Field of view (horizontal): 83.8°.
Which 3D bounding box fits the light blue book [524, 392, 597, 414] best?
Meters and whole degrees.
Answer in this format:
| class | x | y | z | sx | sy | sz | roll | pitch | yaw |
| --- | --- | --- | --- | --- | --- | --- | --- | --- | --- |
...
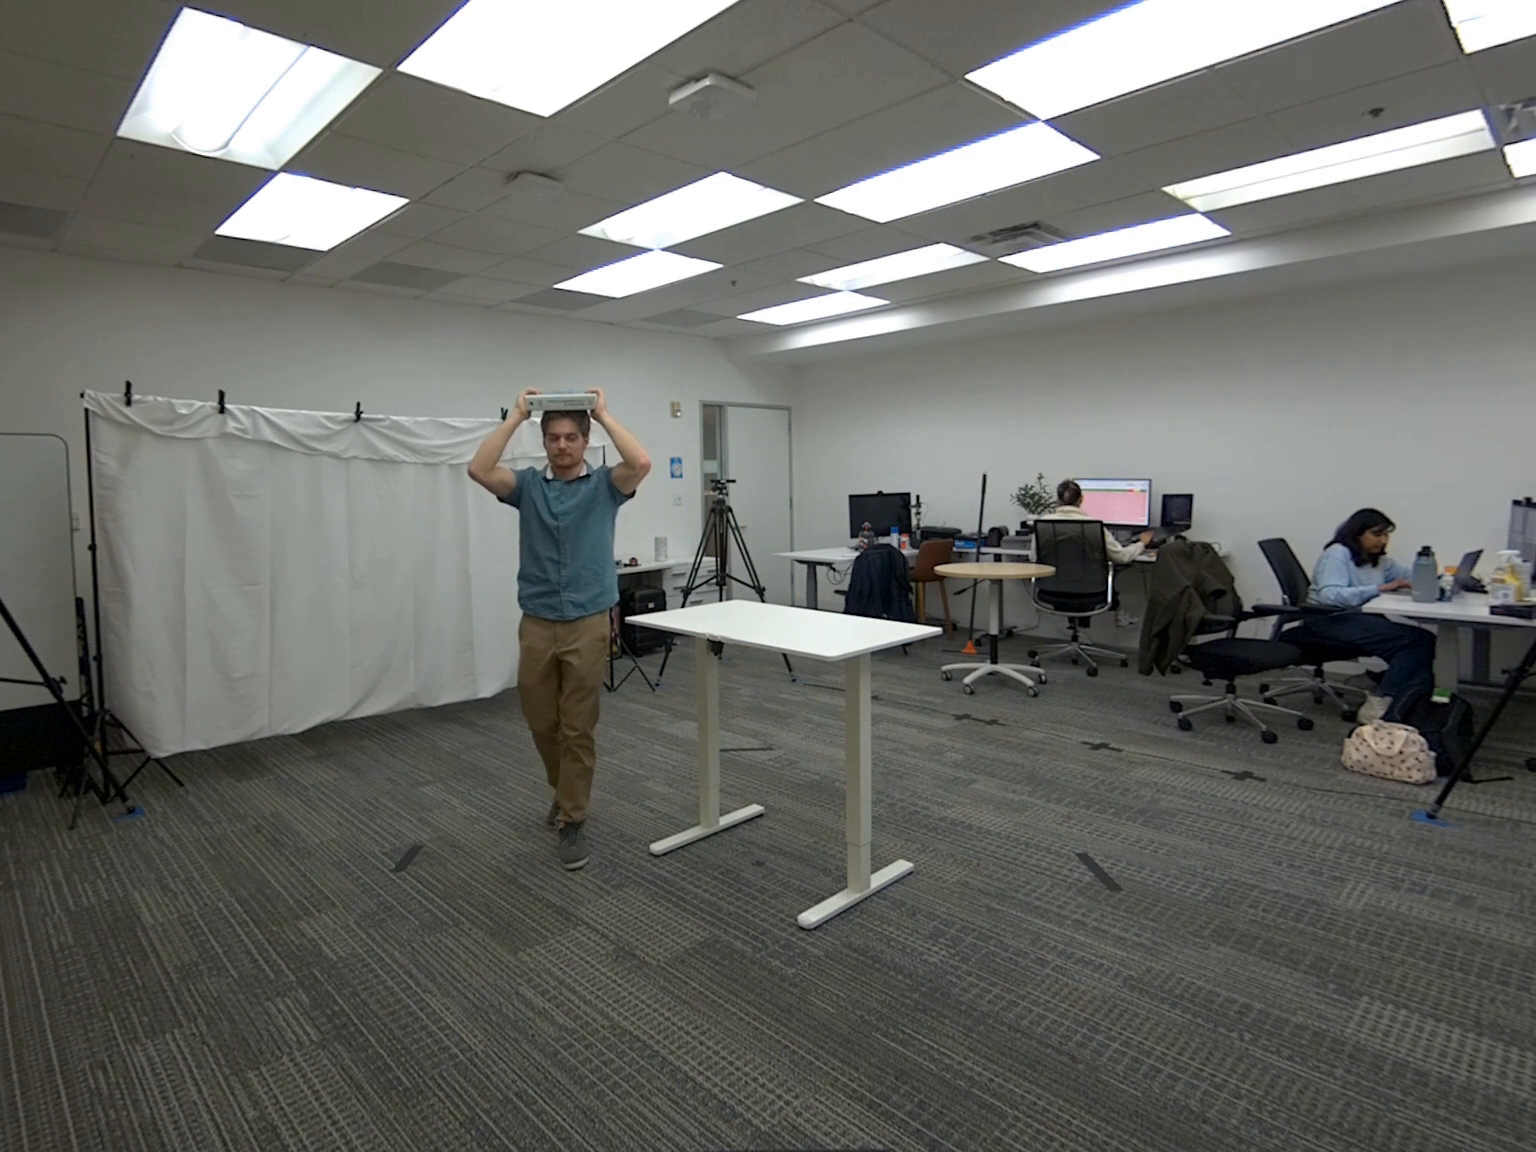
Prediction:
| class | x | y | z | sx | sy | sz | roll | pitch | yaw |
| --- | --- | --- | --- | --- | --- | --- | --- | --- | --- |
| light blue book | -0.784 | -0.665 | 3.244 | 0.260 | 0.058 | 0.195 | -3 | 19 | -3 |
